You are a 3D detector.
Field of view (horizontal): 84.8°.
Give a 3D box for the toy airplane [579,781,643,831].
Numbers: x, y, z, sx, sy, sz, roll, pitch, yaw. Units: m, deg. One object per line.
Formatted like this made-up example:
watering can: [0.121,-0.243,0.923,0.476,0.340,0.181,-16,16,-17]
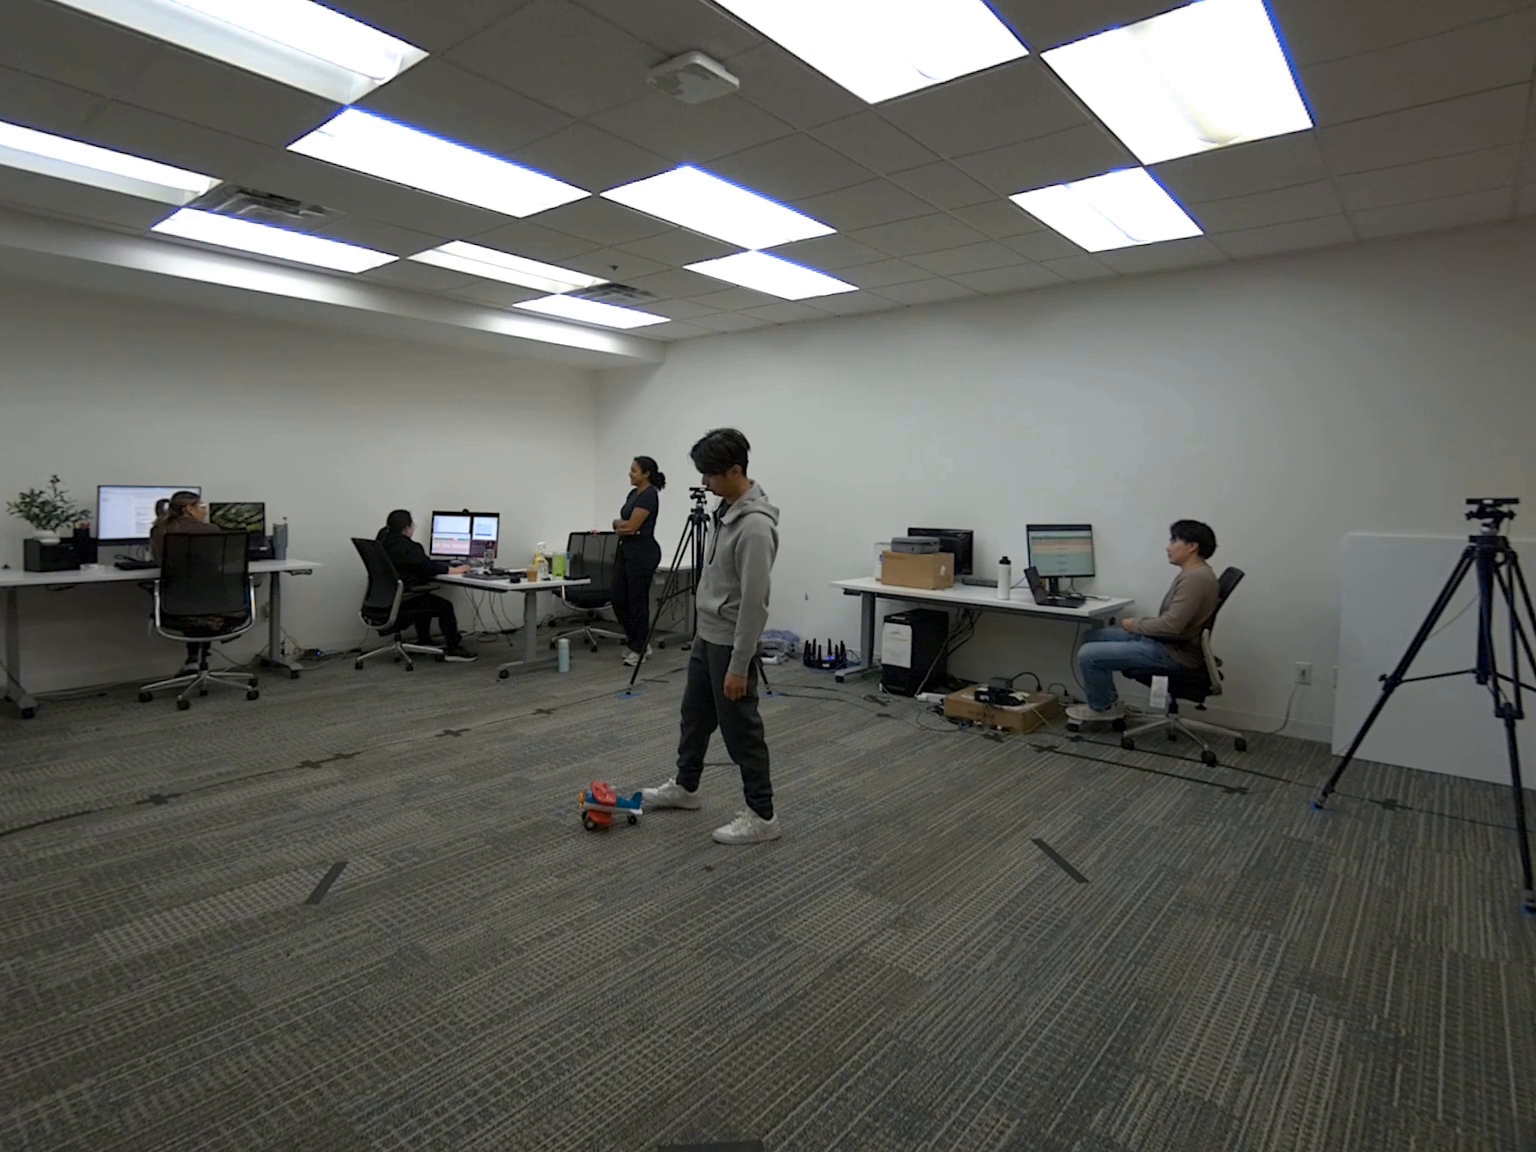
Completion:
toy airplane: [-0.671,0.948,3.519,0.251,0.156,0.259,-4,6,-42]
